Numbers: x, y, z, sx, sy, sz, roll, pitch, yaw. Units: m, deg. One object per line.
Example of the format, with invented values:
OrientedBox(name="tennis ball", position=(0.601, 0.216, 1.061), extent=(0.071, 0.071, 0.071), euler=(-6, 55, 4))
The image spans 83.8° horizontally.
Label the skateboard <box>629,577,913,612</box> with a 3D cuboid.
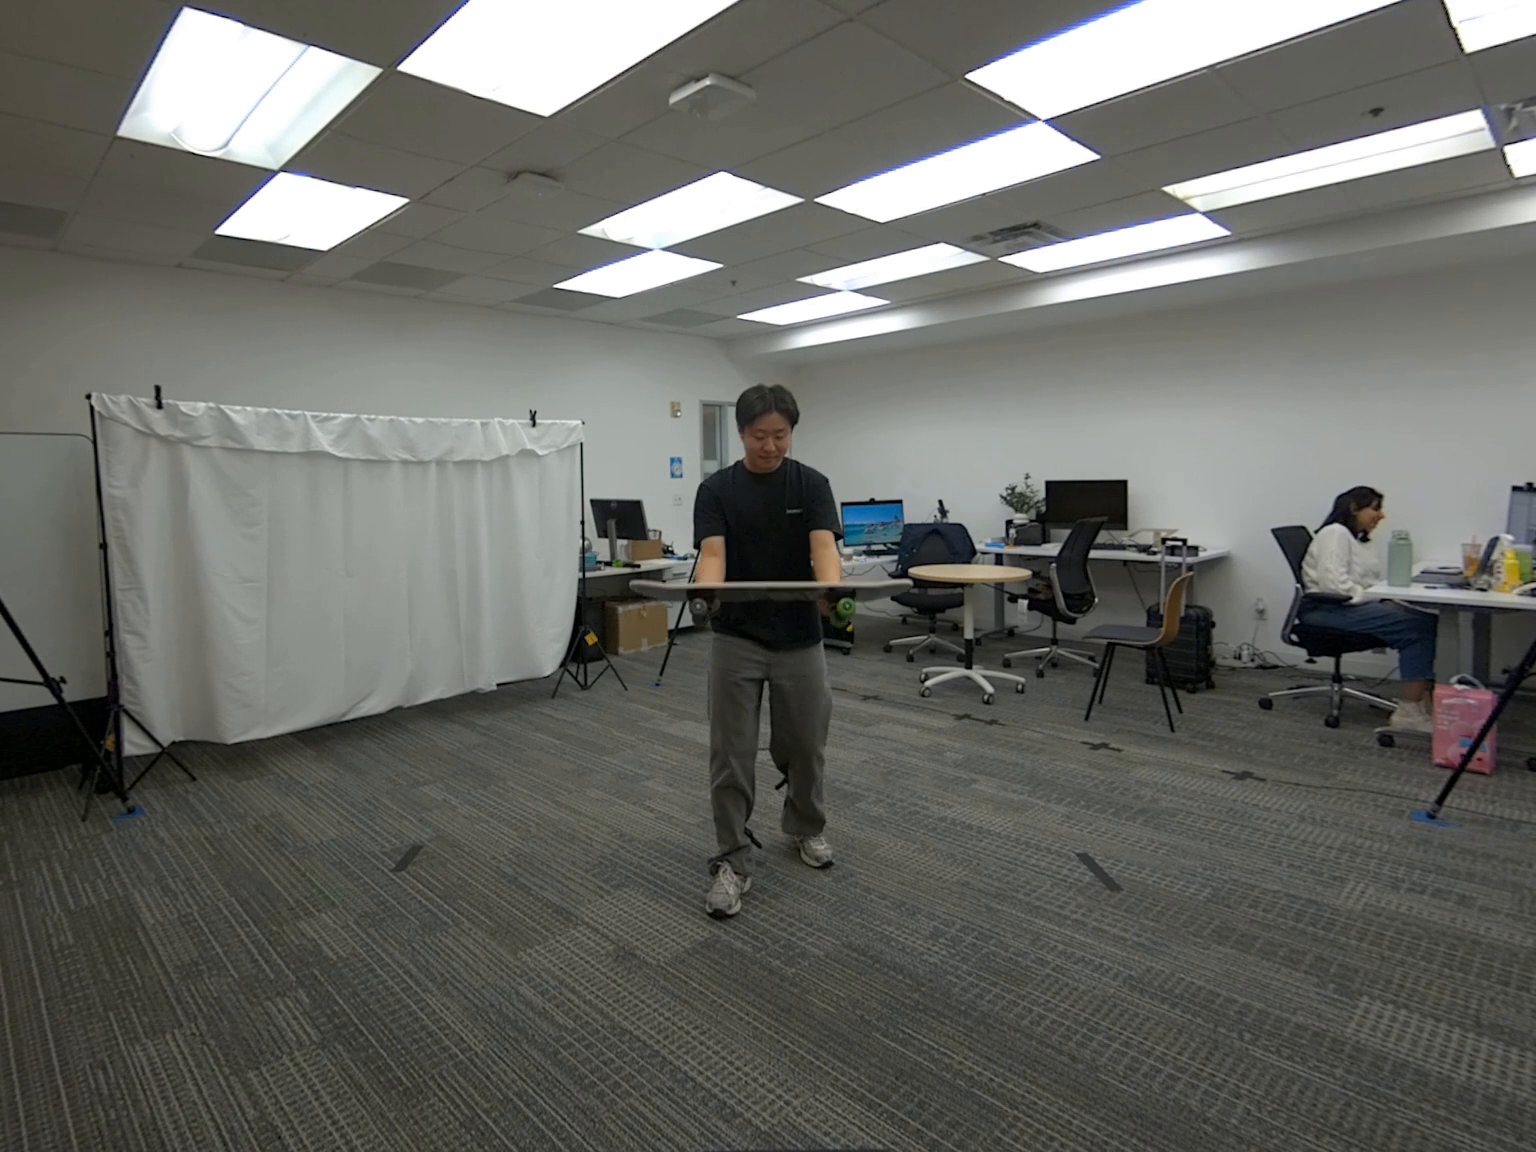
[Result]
OrientedBox(name="skateboard", position=(0.003, 0.091, 2.390), extent=(0.788, 0.112, 0.190), euler=(-1, -13, 4))
